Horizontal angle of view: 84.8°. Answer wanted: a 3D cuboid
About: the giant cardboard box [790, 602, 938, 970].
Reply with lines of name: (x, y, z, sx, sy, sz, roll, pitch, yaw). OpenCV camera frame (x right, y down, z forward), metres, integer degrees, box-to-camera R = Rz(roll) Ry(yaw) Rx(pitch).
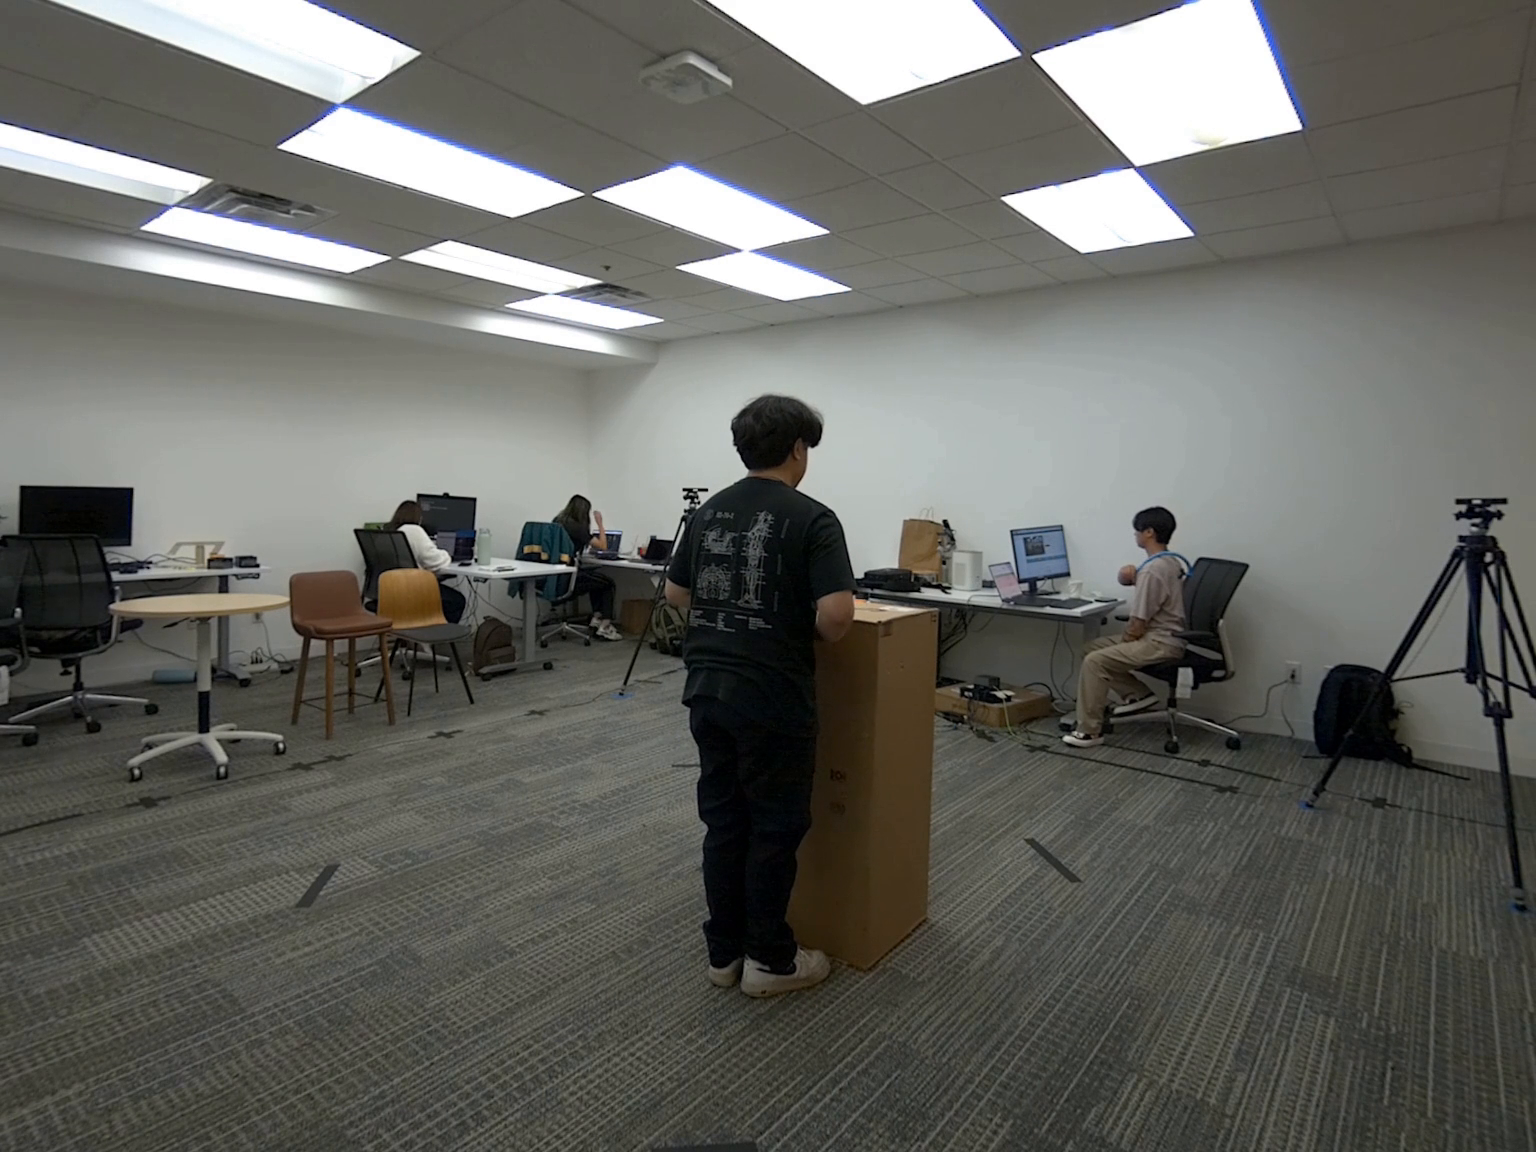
giant cardboard box: (0.178, 0.598, 2.782, 0.603, 1.025, 0.433, 4, 3, 37)
